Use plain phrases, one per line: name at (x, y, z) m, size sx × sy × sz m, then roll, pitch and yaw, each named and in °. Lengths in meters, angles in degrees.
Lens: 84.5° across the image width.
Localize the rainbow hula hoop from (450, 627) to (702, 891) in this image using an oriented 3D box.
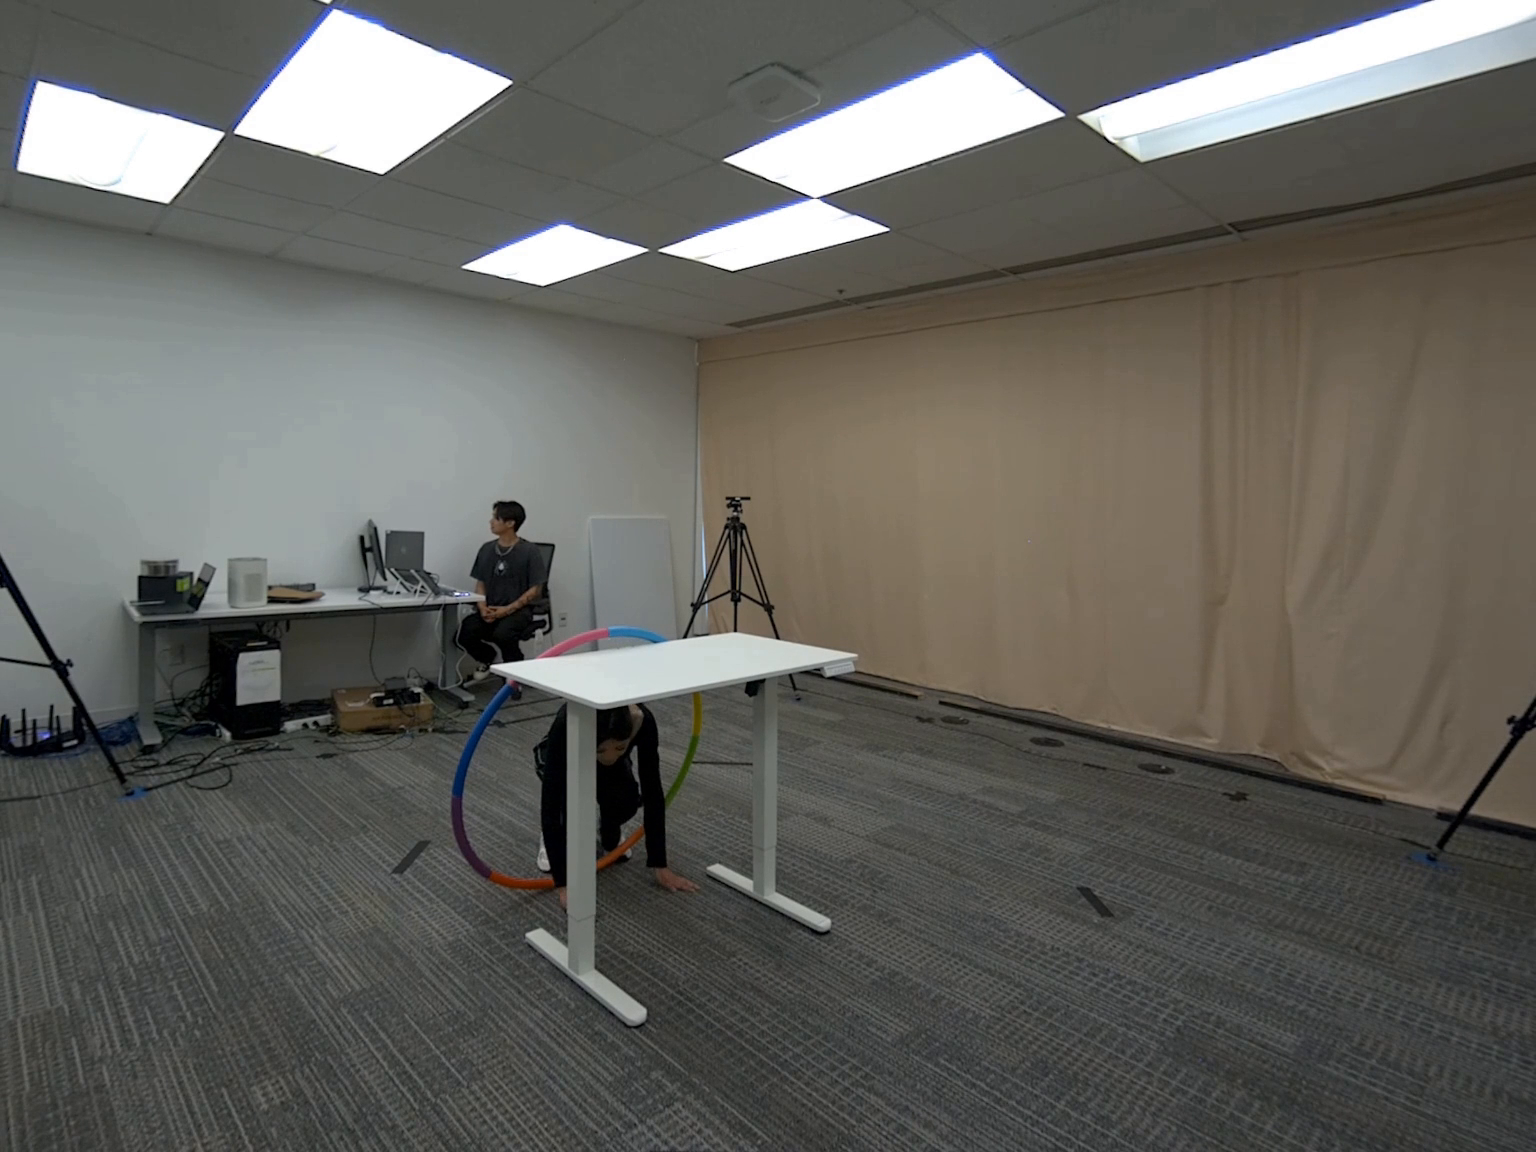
rainbow hula hoop at (-0.624, 0.642, 2.909) m, size 0.956 × 0.971 × 0.036 m, roll -3°, pitch 20°, yaw -44°
